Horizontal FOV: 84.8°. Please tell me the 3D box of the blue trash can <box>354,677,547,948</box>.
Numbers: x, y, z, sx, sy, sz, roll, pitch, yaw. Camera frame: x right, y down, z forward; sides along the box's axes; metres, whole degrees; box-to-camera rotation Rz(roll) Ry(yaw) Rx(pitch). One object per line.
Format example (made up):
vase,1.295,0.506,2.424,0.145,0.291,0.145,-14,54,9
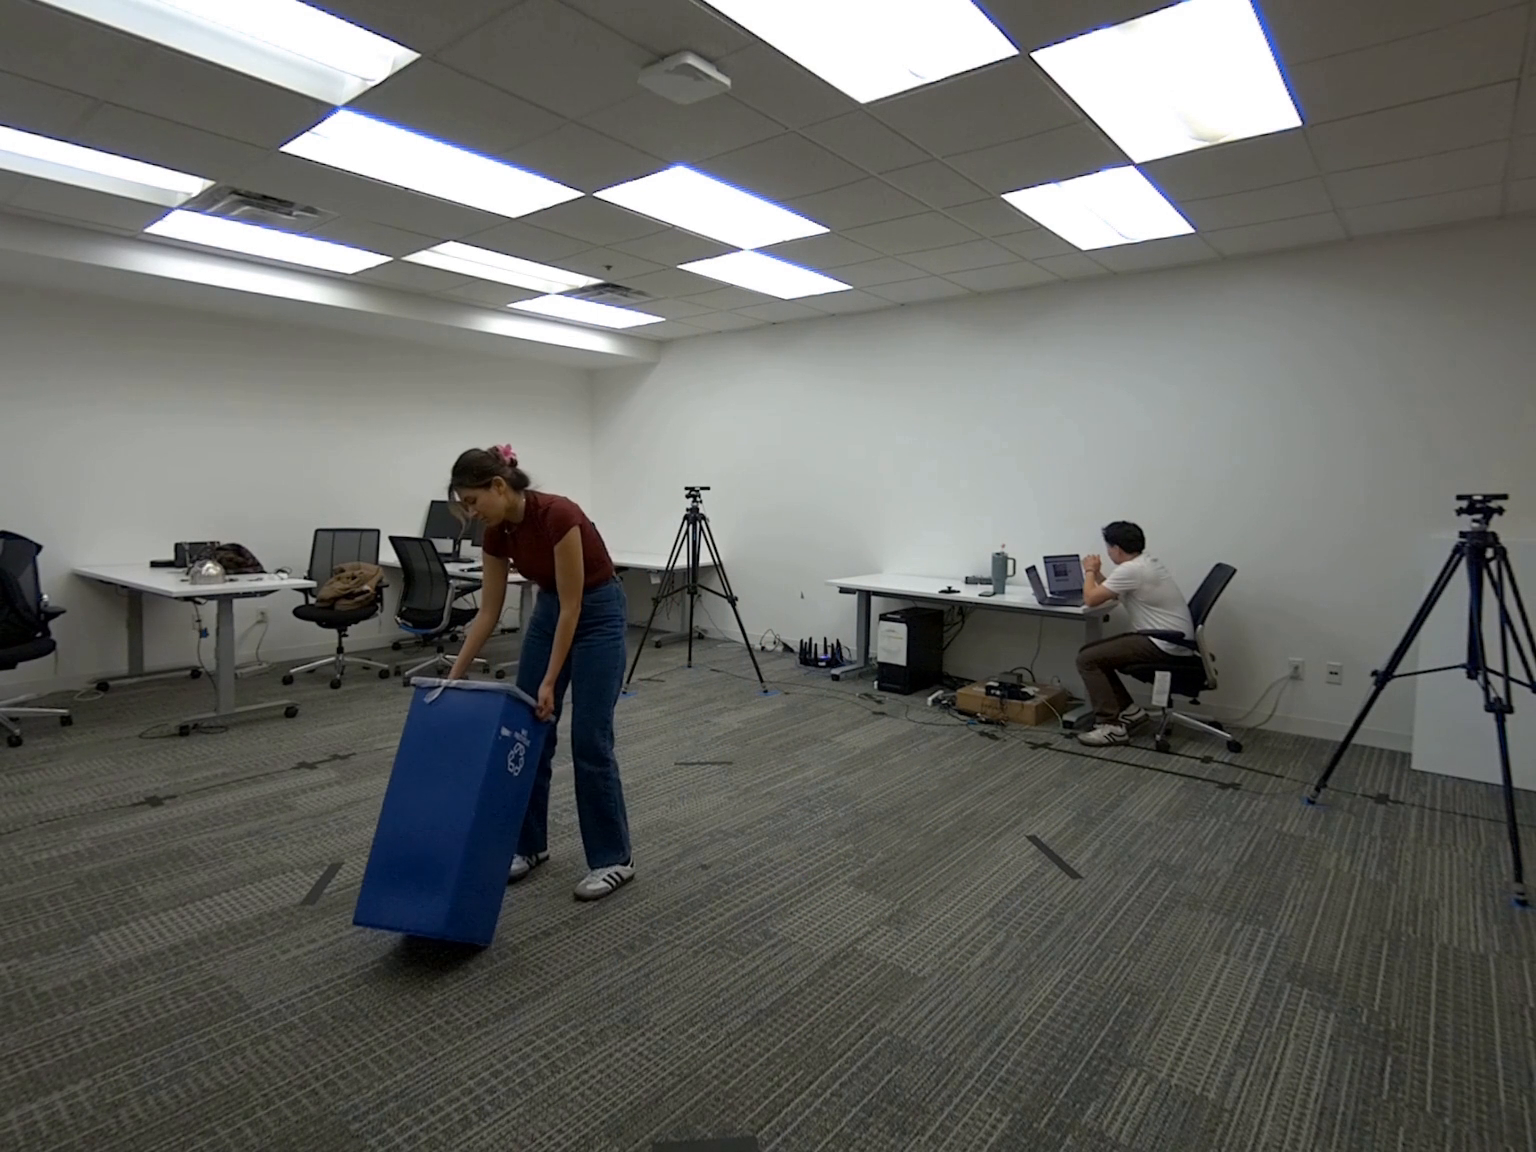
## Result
blue trash can,-0.970,0.728,2.633,0.384,0.727,0.361,1,-26,13
